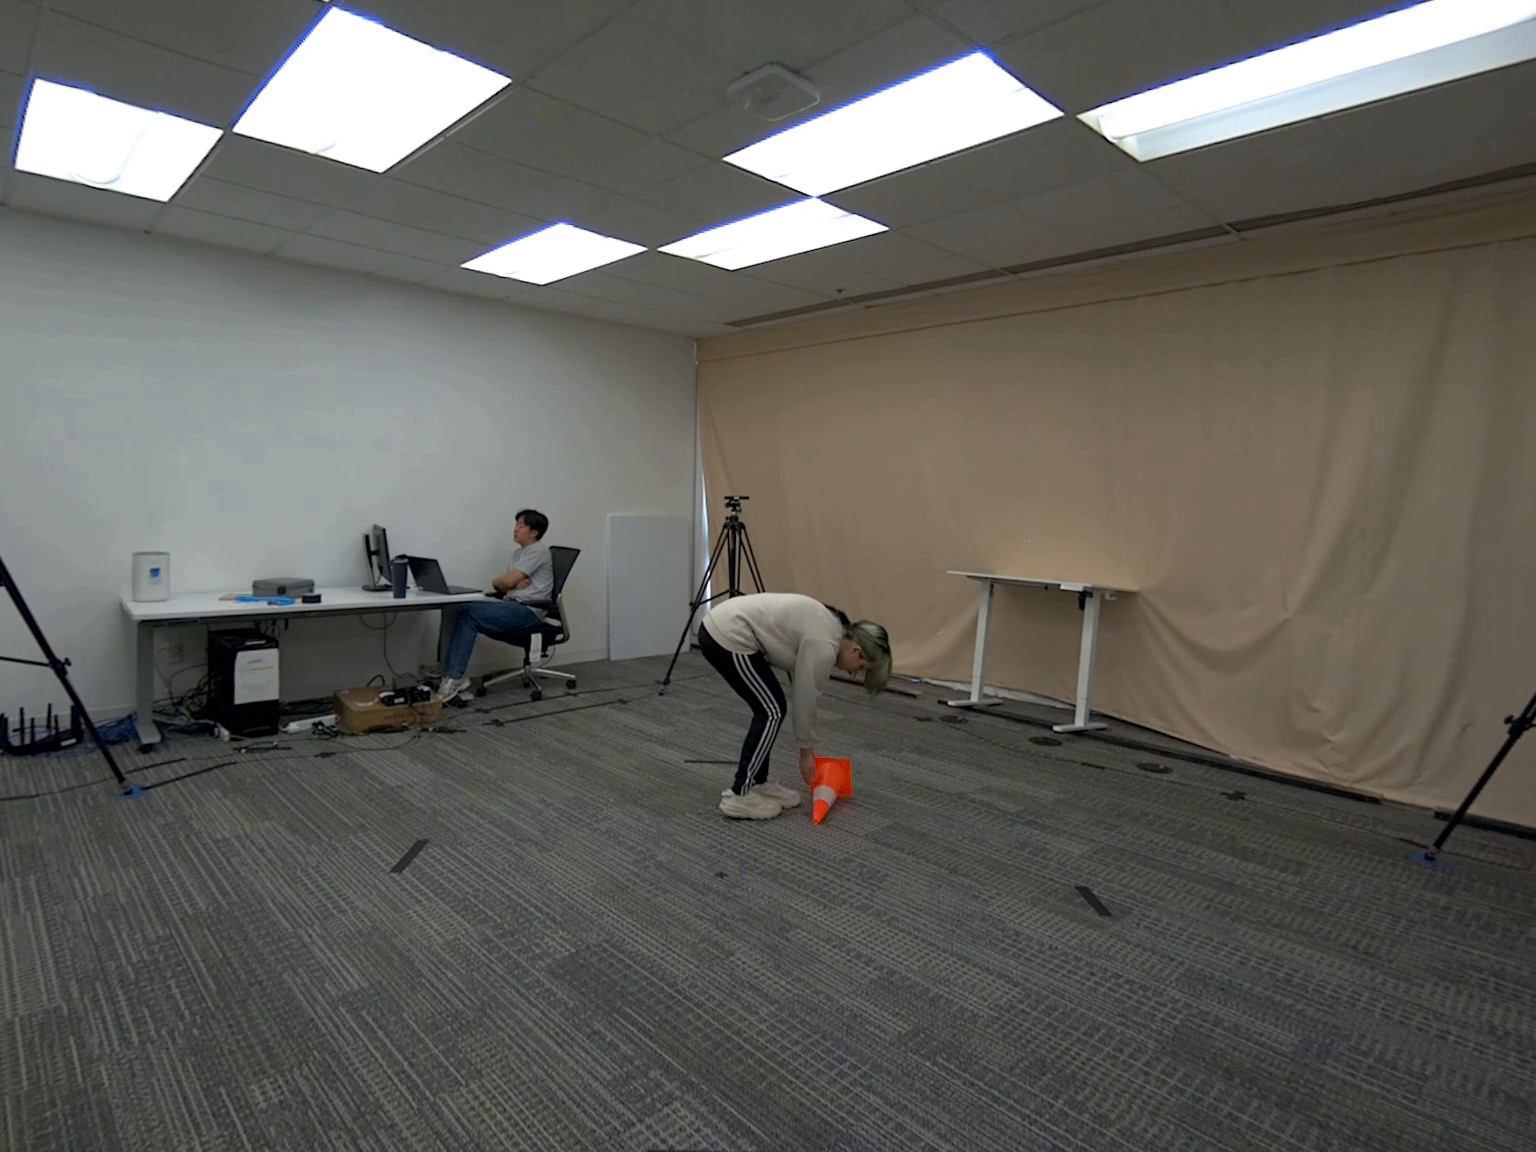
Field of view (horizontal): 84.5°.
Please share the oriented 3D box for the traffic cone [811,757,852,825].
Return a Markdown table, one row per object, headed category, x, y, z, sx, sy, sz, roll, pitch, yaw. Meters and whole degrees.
| category | x | y | z | sx | sy | sz | roll | pitch | yaw |
| --- | --- | --- | --- | --- | --- | --- | --- | --- | --- |
| traffic cone | 0.240 | 1.008 | 3.794 | 0.206 | 0.202 | 0.384 | 6 | 20 | 13 |
